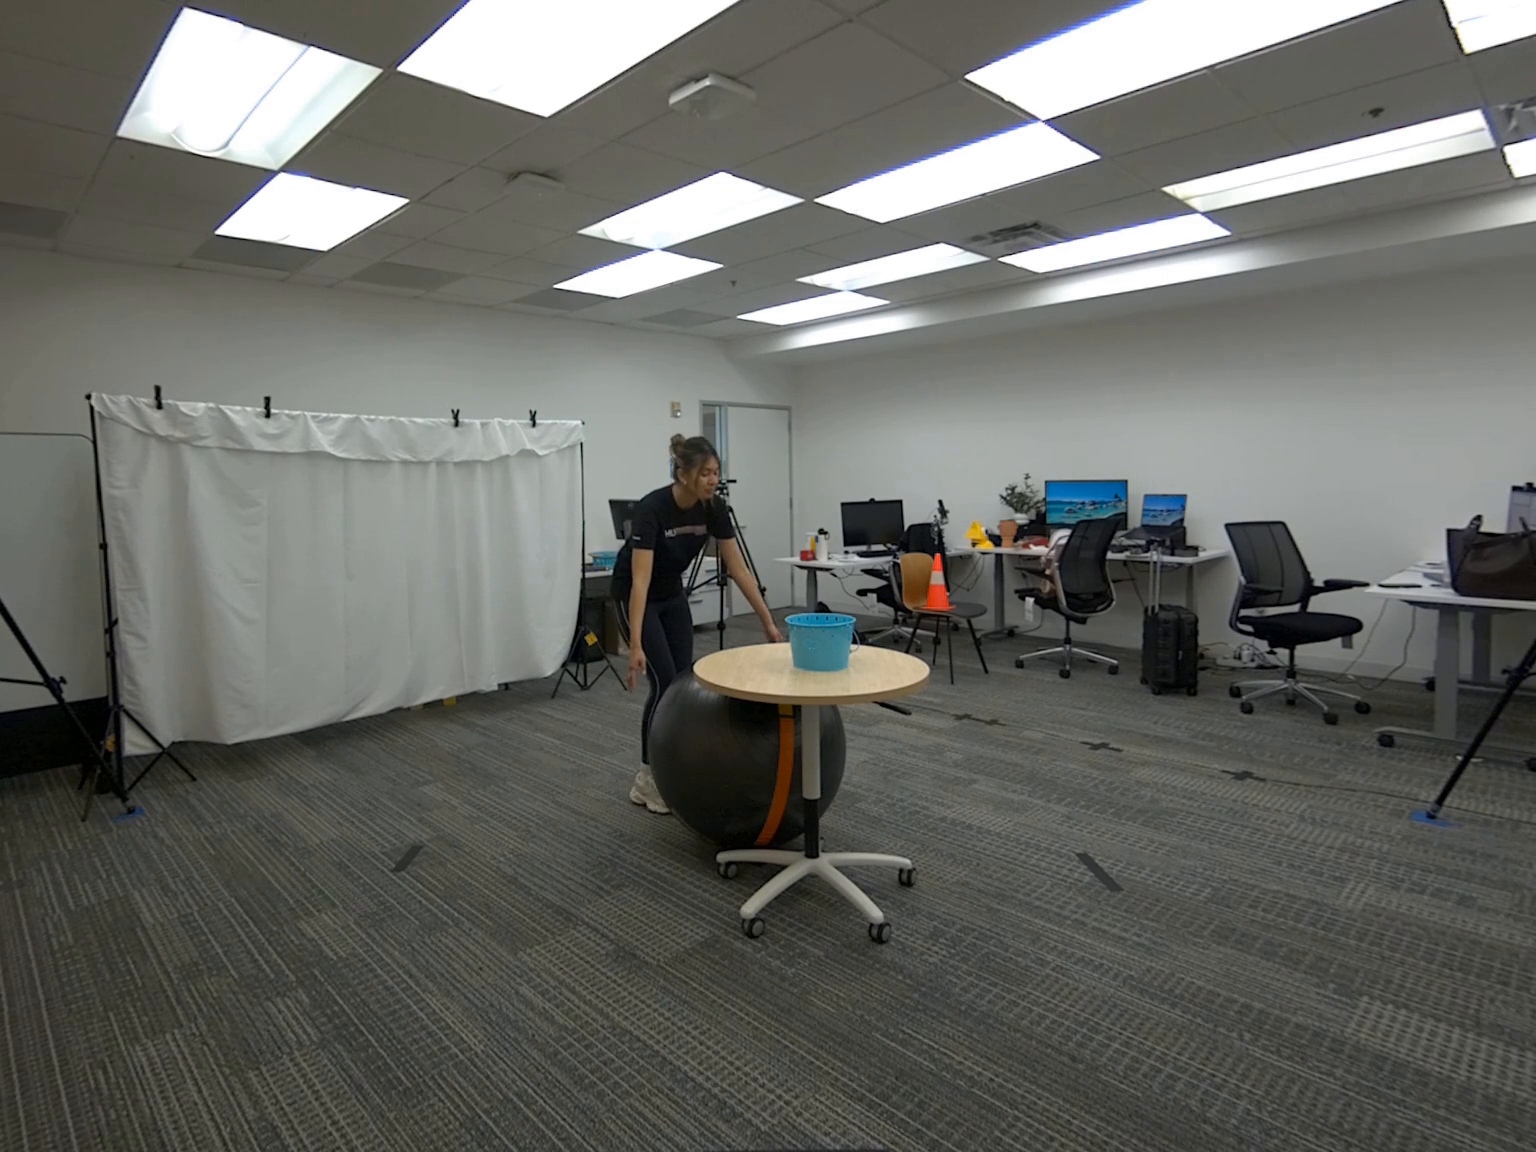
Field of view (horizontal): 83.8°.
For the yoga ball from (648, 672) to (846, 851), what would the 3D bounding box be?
[{"bbox_3d":[-0.078,0.653,3.292,0.757,0.755,0.762,-1,5,-2],"label":"yoga ball"}]
